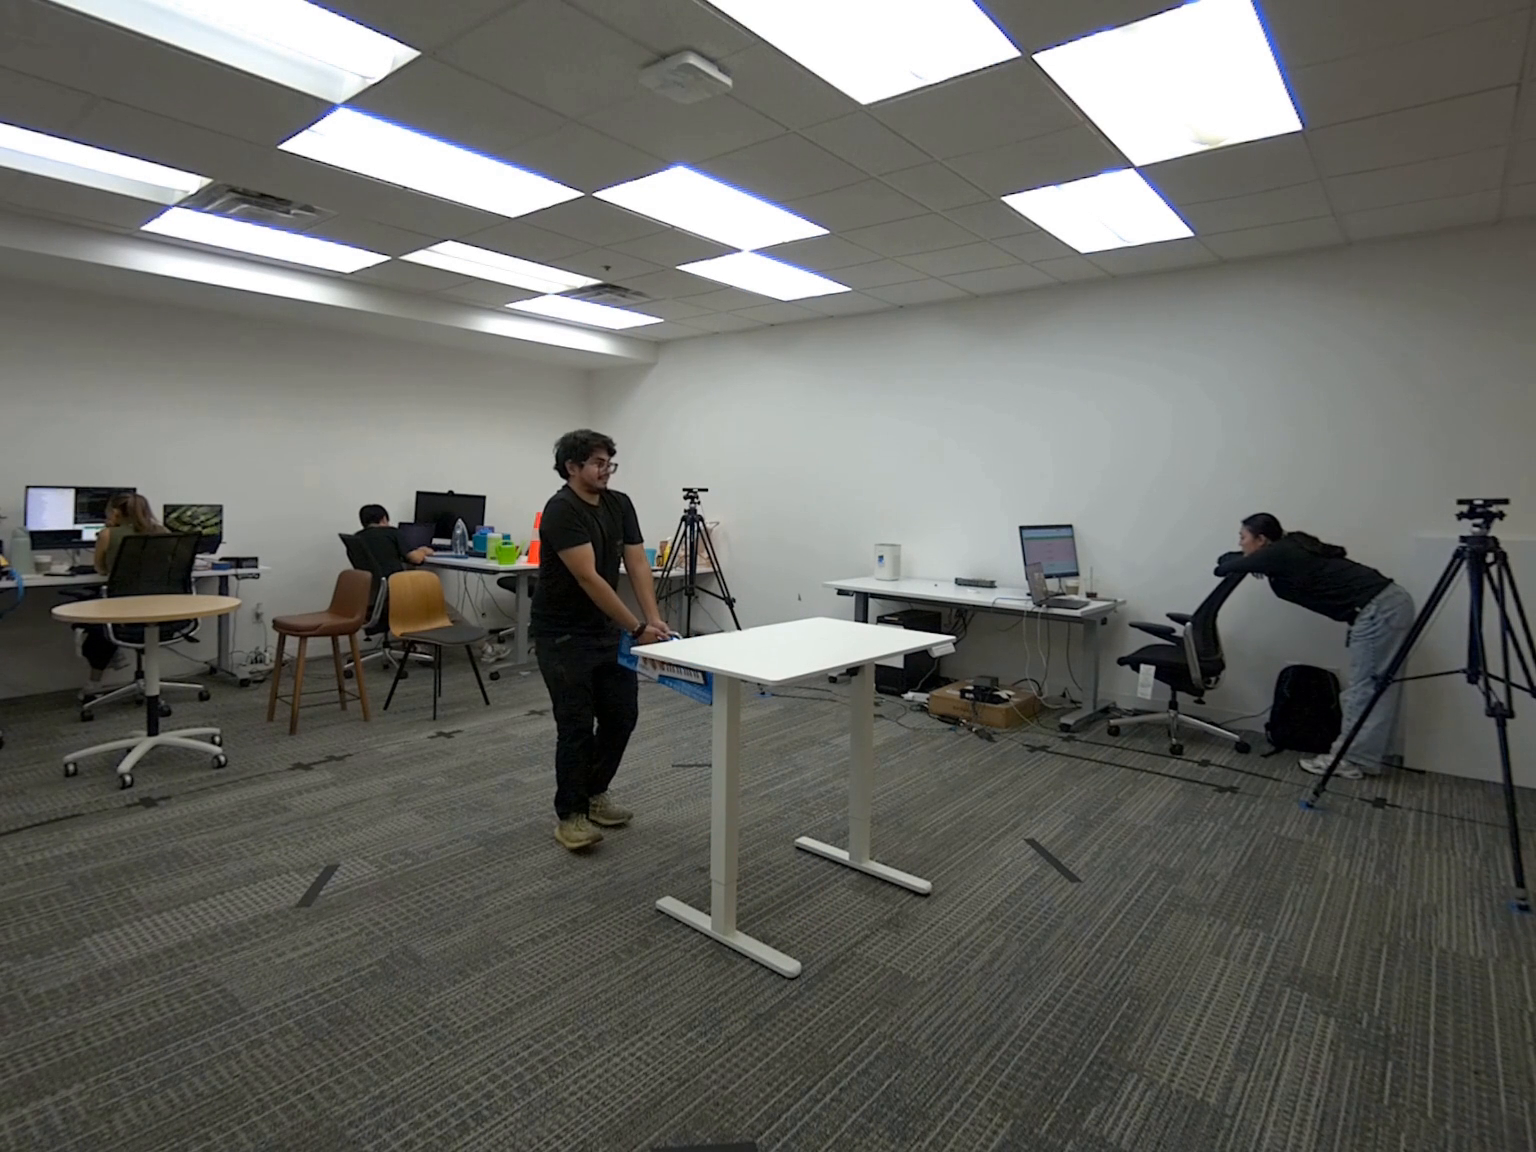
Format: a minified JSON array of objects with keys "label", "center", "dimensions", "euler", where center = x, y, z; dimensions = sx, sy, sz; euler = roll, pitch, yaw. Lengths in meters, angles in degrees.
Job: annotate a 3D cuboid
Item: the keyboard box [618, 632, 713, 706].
[{"label":"keyboard box","center":[-0.368,0.328,3.186],"dimensions":[0.451,0.174,0.058],"euler":[19,15,27]}]
